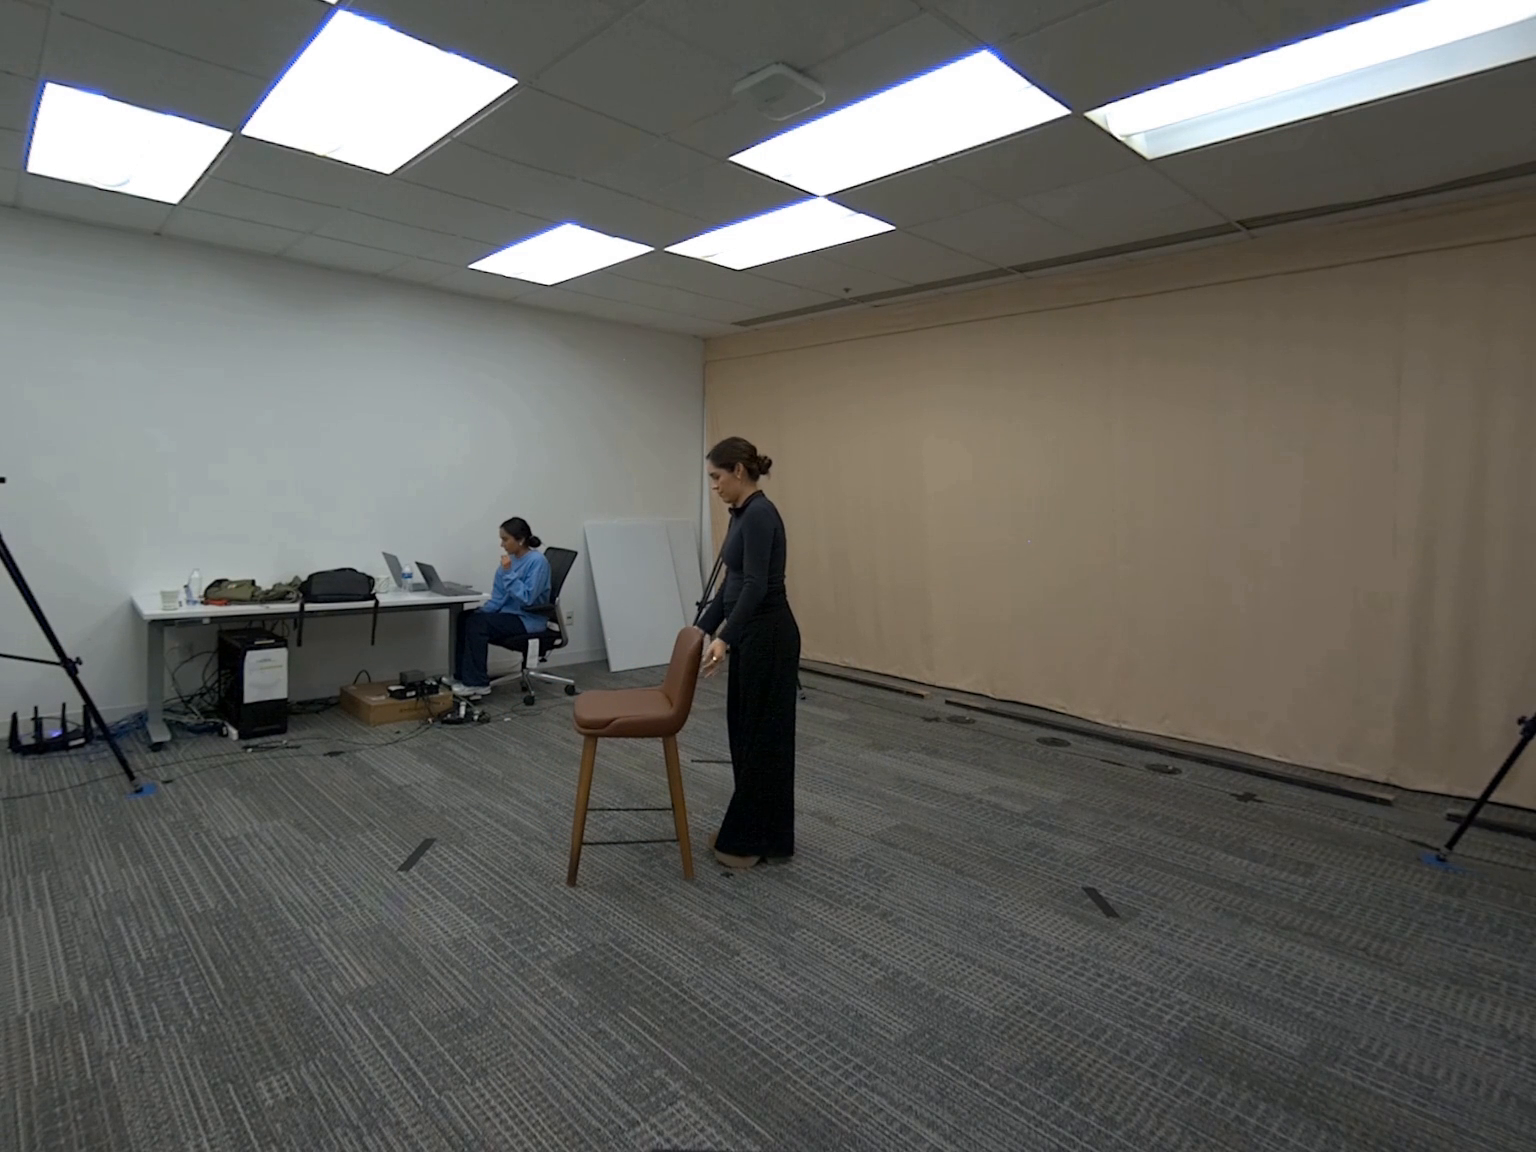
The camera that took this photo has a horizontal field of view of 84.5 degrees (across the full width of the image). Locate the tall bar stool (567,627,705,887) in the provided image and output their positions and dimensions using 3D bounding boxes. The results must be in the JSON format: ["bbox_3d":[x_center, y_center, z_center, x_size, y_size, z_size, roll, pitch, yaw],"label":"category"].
[{"bbox_3d":[-0.509,0.650,3.177,0.464,0.888,0.461,3,3,-11],"label":"tall bar stool"}]
